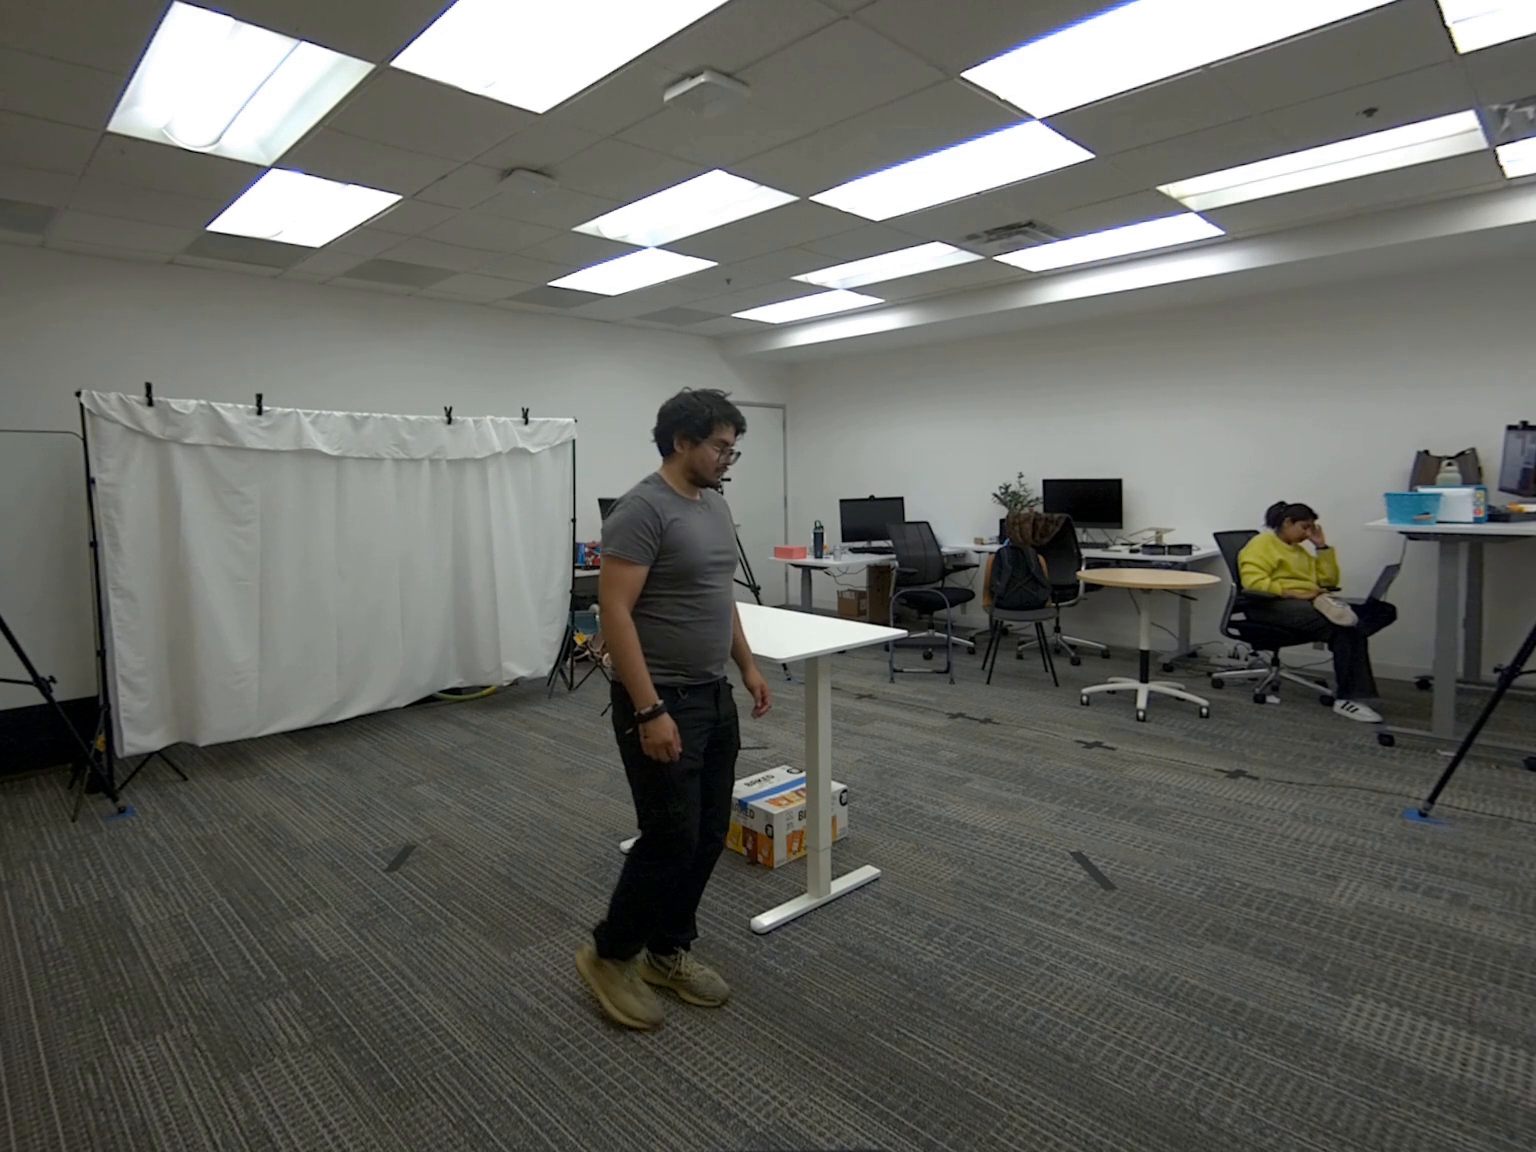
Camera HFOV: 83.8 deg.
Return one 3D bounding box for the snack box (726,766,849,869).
[{"bbox_3d":[0.050,0.919,3.300,0.394,0.205,0.351,-7,8,-43],"label":"snack box"}]
